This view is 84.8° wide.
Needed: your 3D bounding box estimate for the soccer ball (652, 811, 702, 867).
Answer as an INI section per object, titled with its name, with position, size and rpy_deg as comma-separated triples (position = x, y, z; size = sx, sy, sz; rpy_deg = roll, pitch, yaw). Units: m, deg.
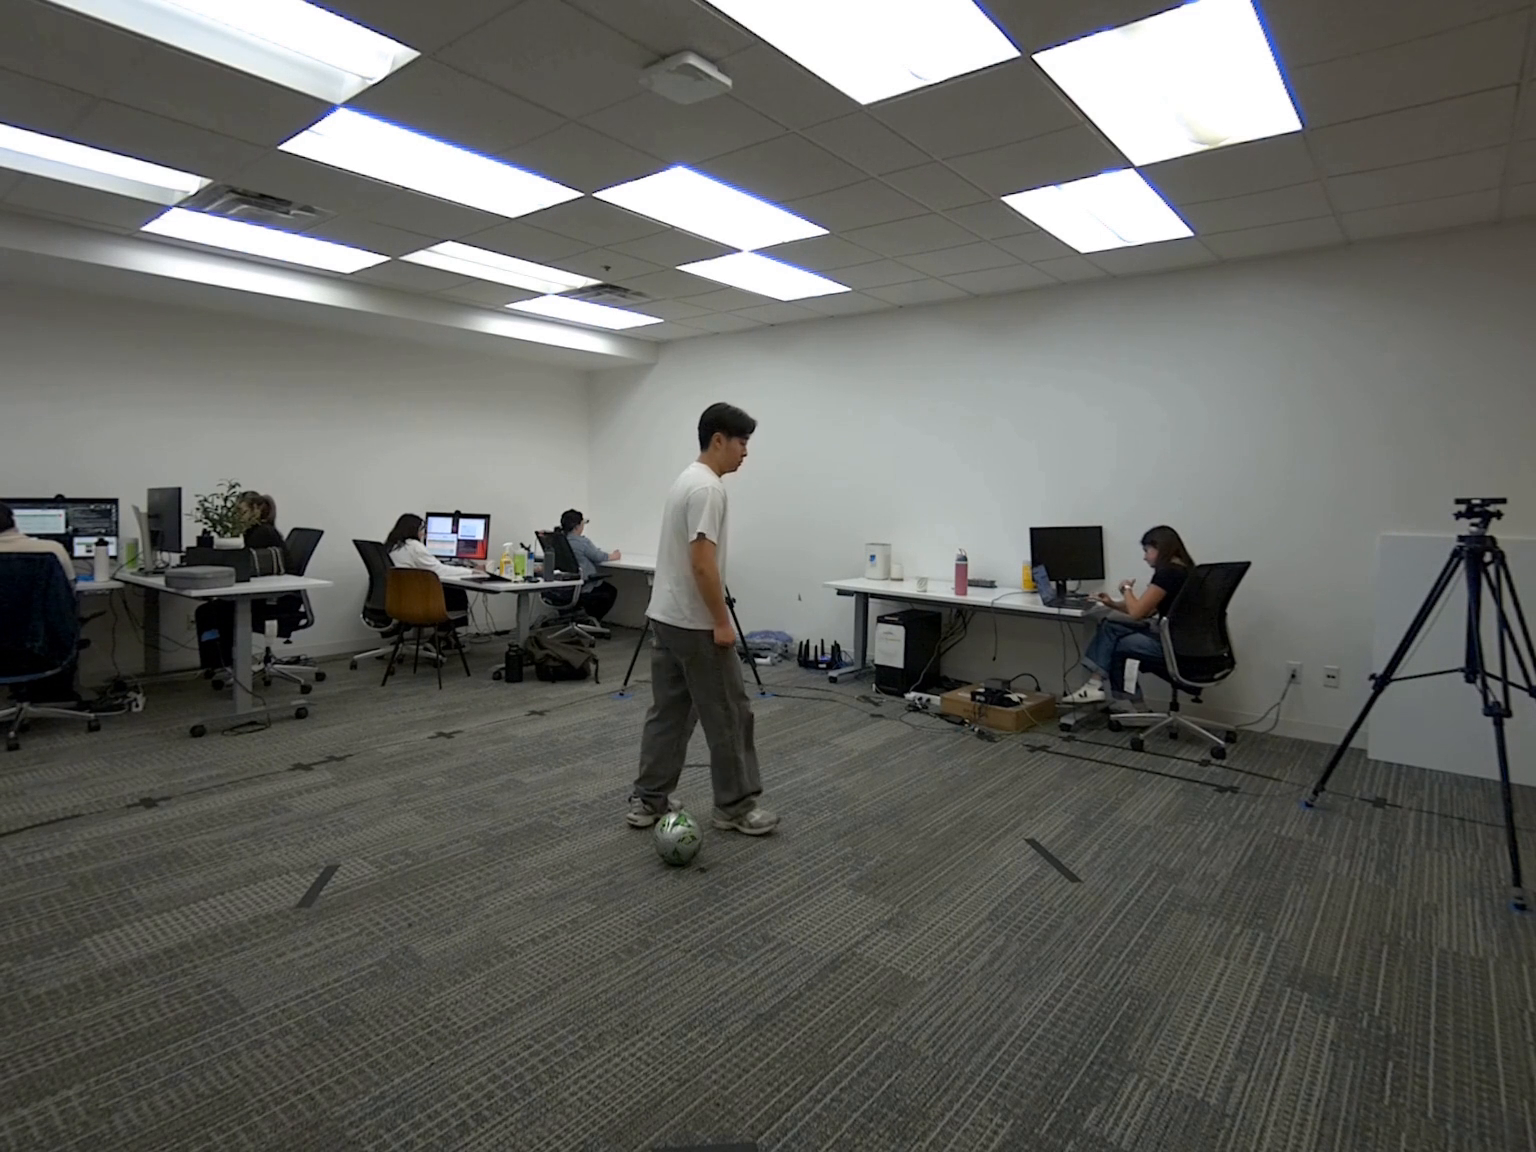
[soccer ball]
position = -0.333, 0.966, 3.165
size = 0.187, 0.187, 0.188
rpy_deg = 1, 4, -2
